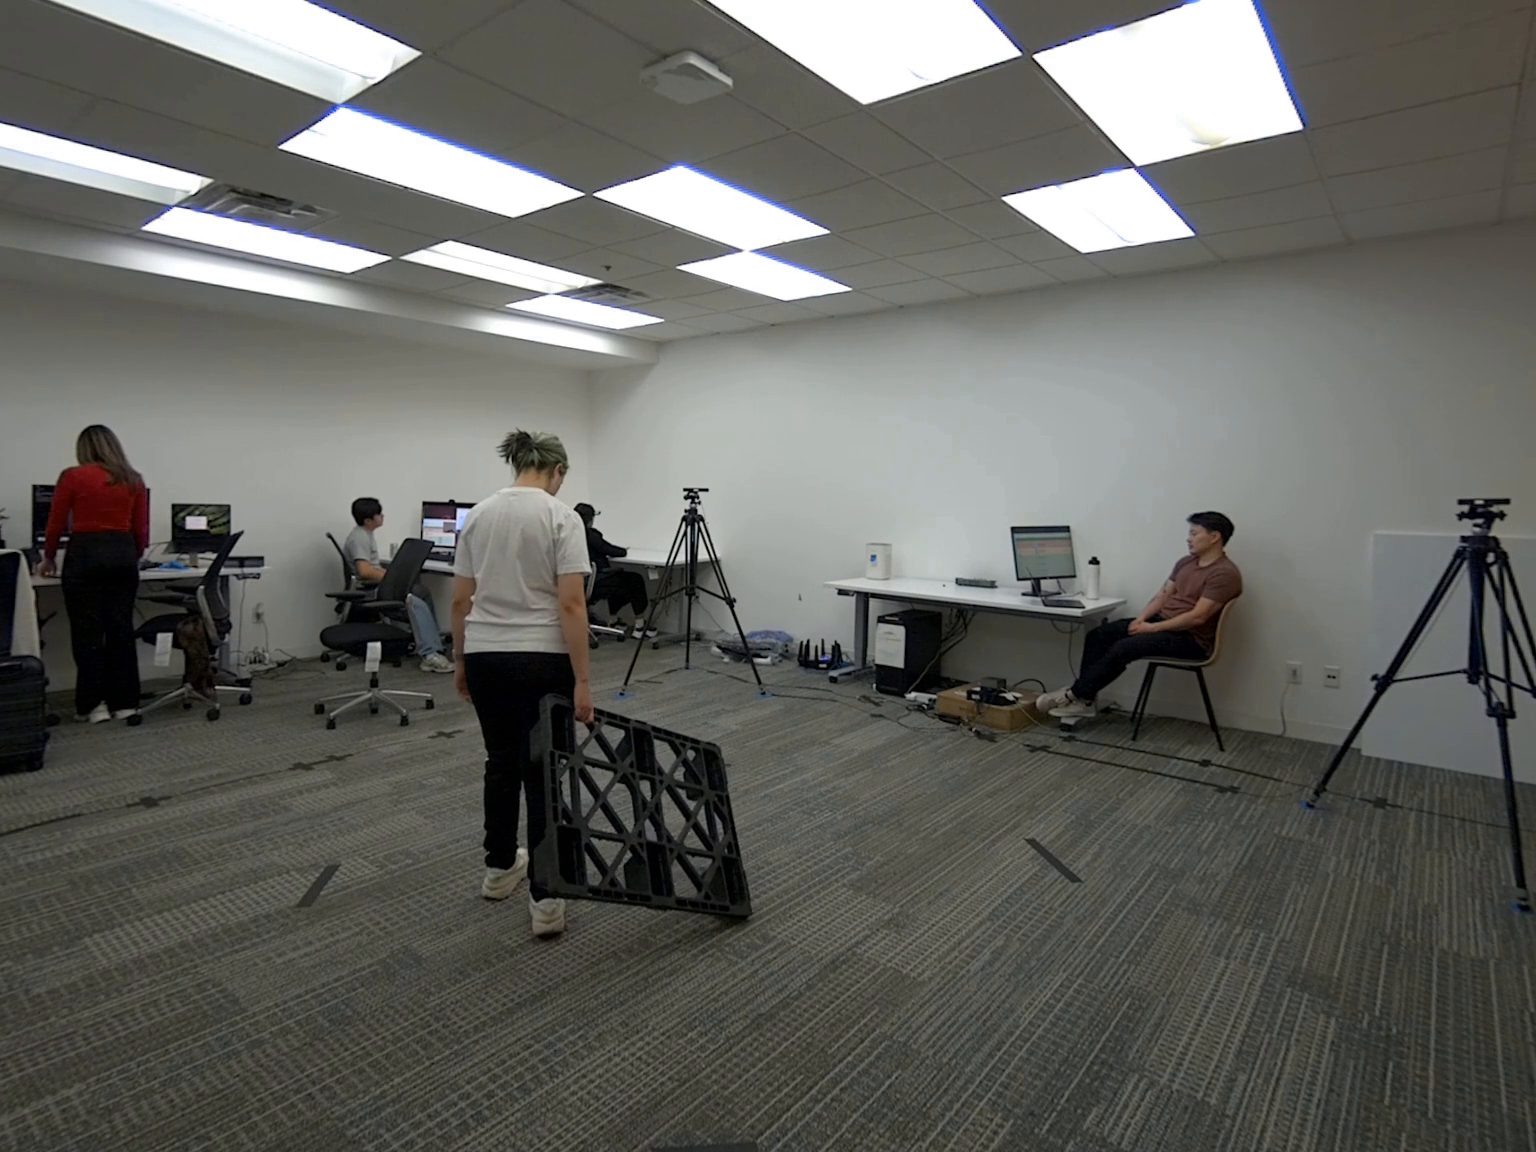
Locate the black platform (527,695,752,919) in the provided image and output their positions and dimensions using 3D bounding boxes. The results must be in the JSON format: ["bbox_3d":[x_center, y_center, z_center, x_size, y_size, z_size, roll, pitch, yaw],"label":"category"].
[{"bbox_3d":[-0.416,0.758,2.698,0.144,0.626,0.773,-35,-41,27],"label":"black platform"}]
